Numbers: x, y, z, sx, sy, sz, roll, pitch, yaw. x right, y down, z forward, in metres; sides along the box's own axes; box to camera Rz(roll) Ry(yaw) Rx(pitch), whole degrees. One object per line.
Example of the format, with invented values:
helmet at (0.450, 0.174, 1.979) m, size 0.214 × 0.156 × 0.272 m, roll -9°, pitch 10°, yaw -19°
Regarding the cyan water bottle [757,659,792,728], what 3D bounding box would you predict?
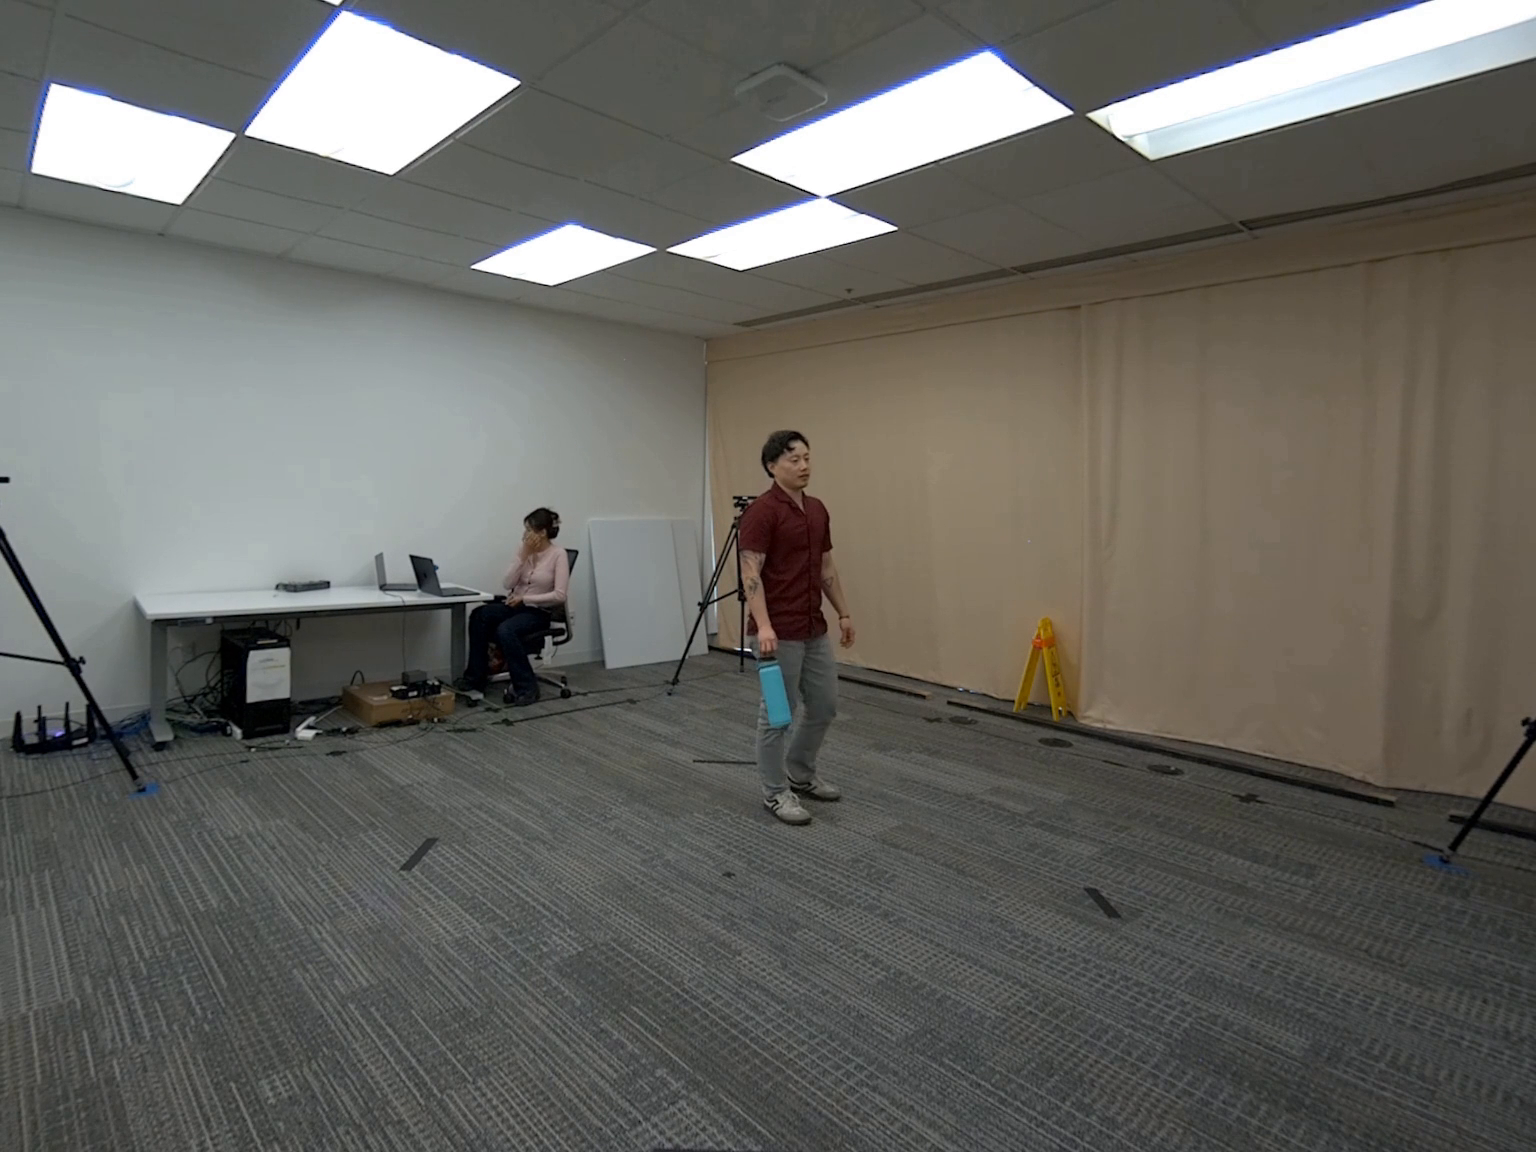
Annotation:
cyan water bottle at (0.006, 0.454, 3.364) m, size 0.092 × 0.285 × 0.092 m, roll -12°, pitch -6°, yaw -2°
